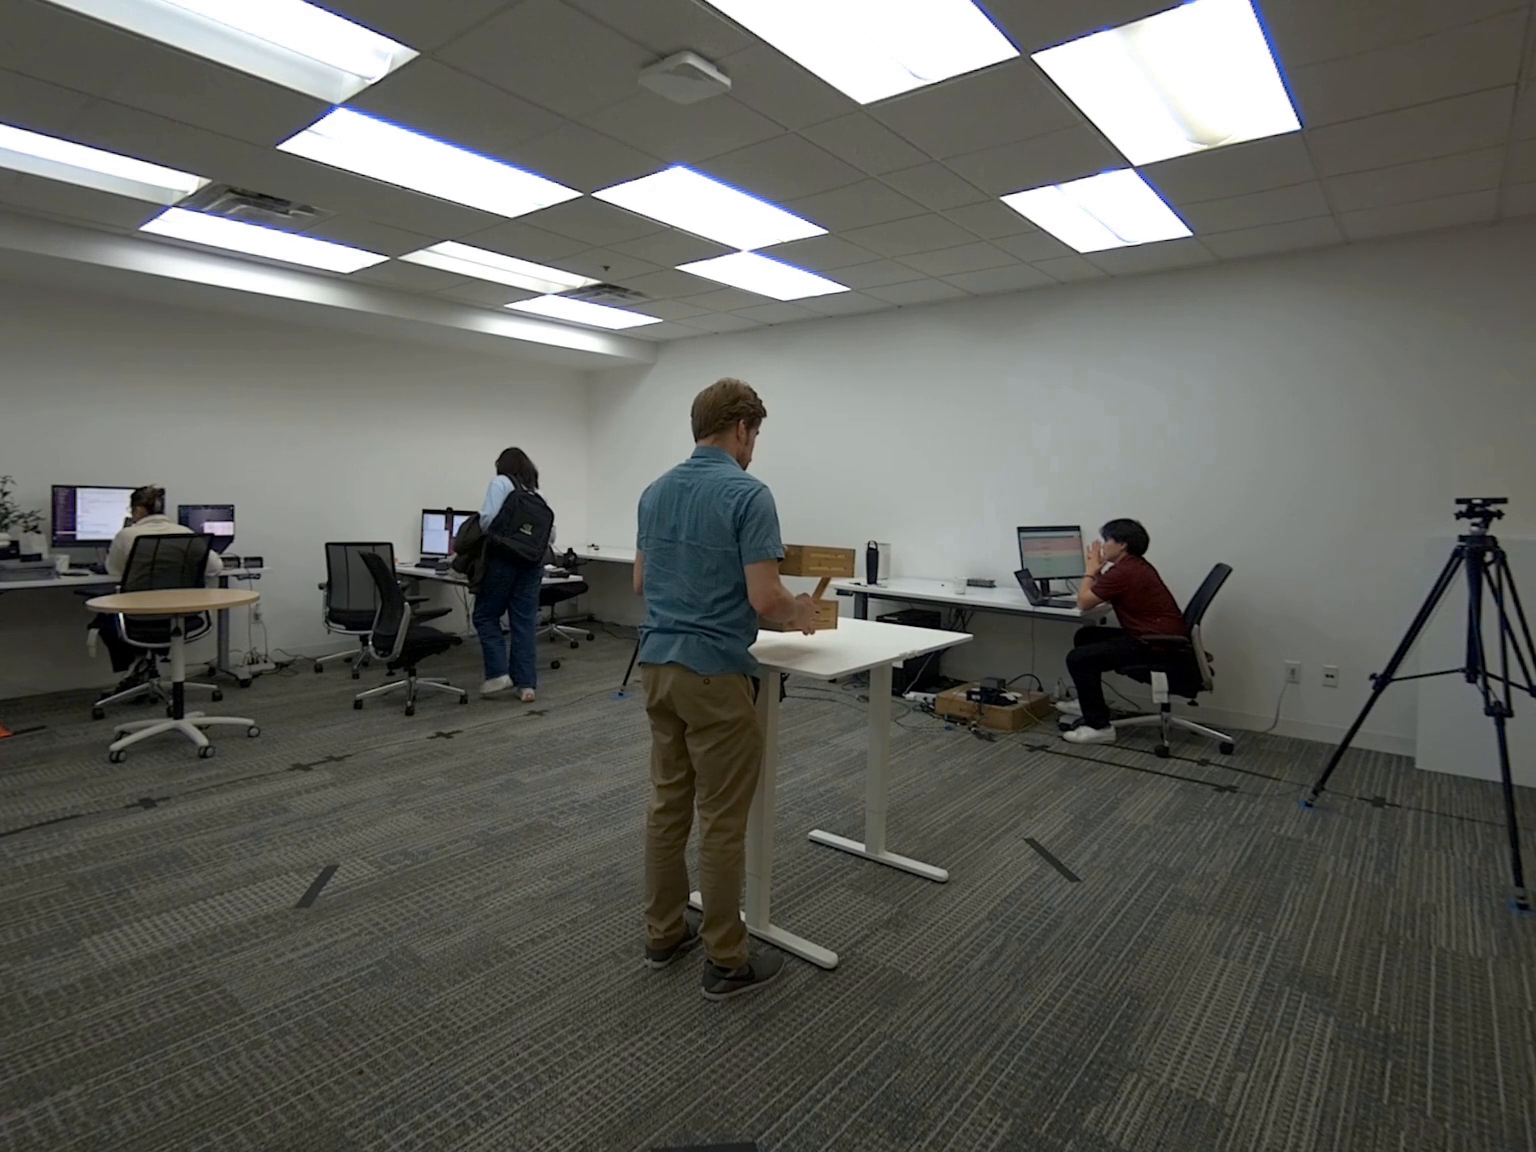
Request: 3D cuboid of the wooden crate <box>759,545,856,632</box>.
[{"bbox_3d":[0.059,0.028,2.665,0.312,0.273,0.314,4,1,38],"label":"wooden crate"}]
